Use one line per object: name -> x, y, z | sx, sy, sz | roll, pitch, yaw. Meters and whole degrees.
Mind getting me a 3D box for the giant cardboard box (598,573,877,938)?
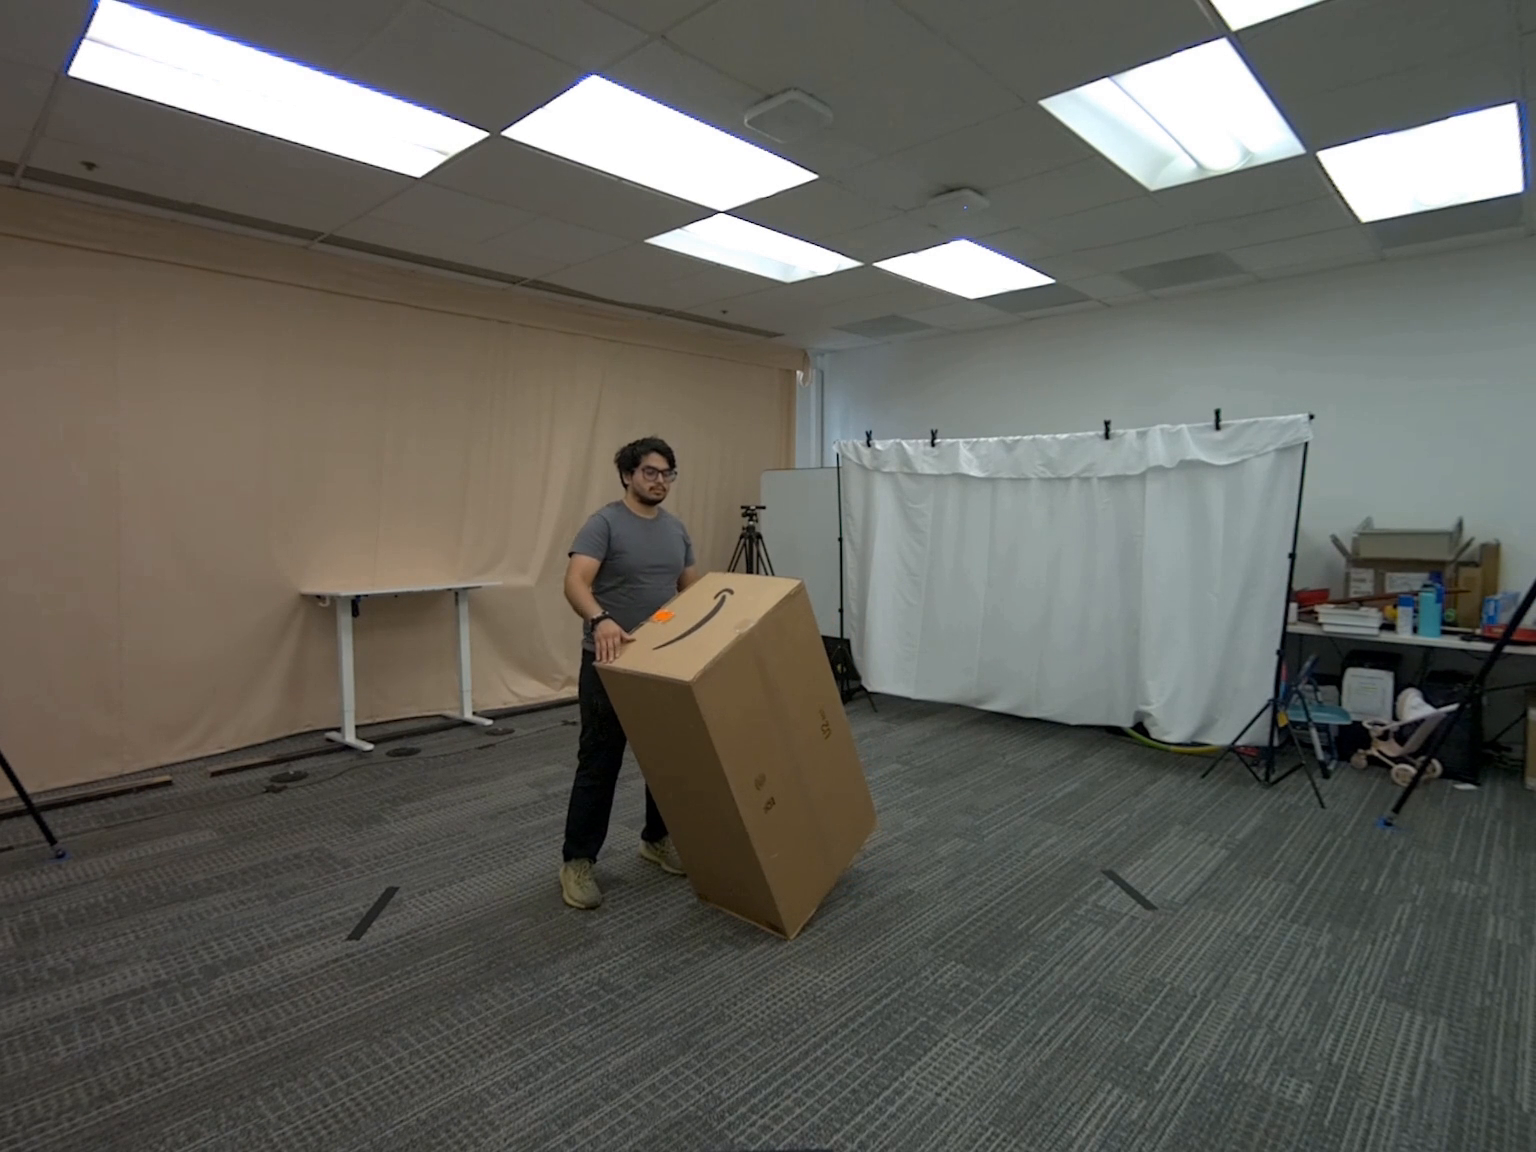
giant cardboard box -> -0.063, 0.580, 2.826 | 0.440, 1.006, 0.569 | 3, 30, 42
